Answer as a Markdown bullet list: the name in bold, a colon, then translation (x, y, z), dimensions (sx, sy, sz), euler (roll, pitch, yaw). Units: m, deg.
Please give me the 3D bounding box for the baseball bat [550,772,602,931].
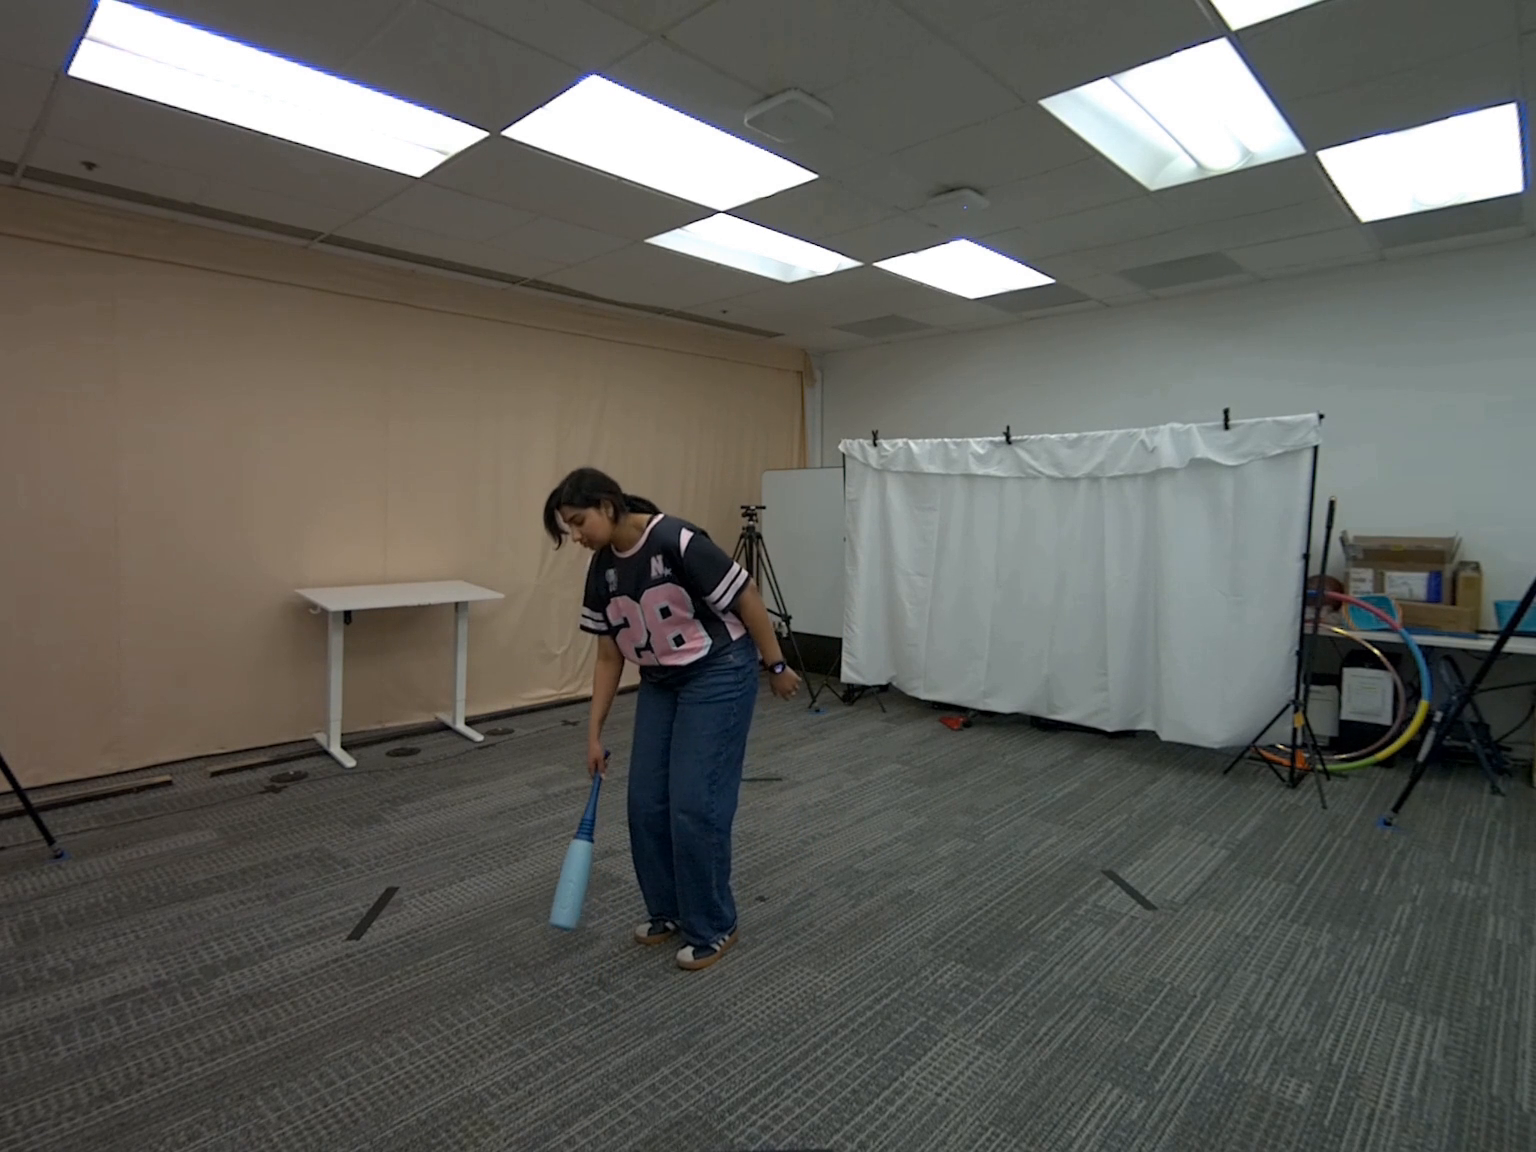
- **baseball bat**: translation (-0.557, 0.817, 2.597), dimensions (0.089, 0.549, 0.088), euler (8, -30, 3)
